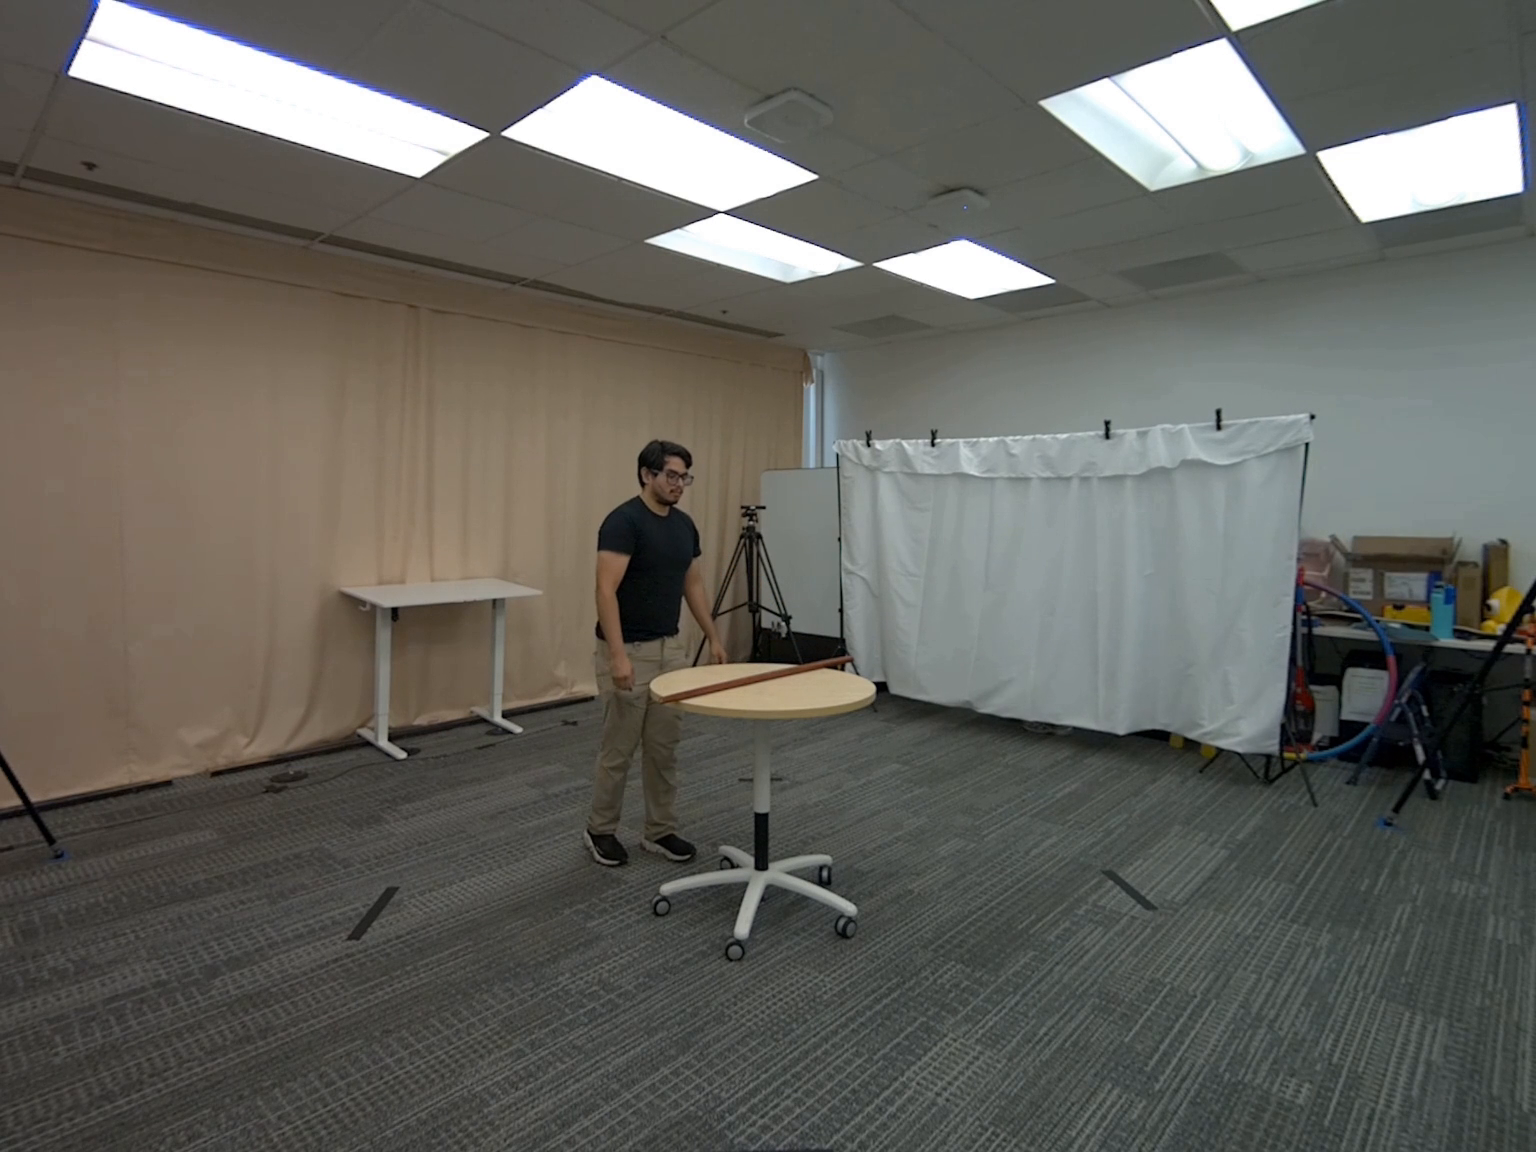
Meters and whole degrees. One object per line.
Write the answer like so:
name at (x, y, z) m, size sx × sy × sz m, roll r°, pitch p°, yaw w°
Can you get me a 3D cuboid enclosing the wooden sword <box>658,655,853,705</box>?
wooden sword at (0.005, 0.365, 2.920) m, size 0.053 × 0.024 × 0.993 m, roll 9°, pitch 9°, yaw 41°
